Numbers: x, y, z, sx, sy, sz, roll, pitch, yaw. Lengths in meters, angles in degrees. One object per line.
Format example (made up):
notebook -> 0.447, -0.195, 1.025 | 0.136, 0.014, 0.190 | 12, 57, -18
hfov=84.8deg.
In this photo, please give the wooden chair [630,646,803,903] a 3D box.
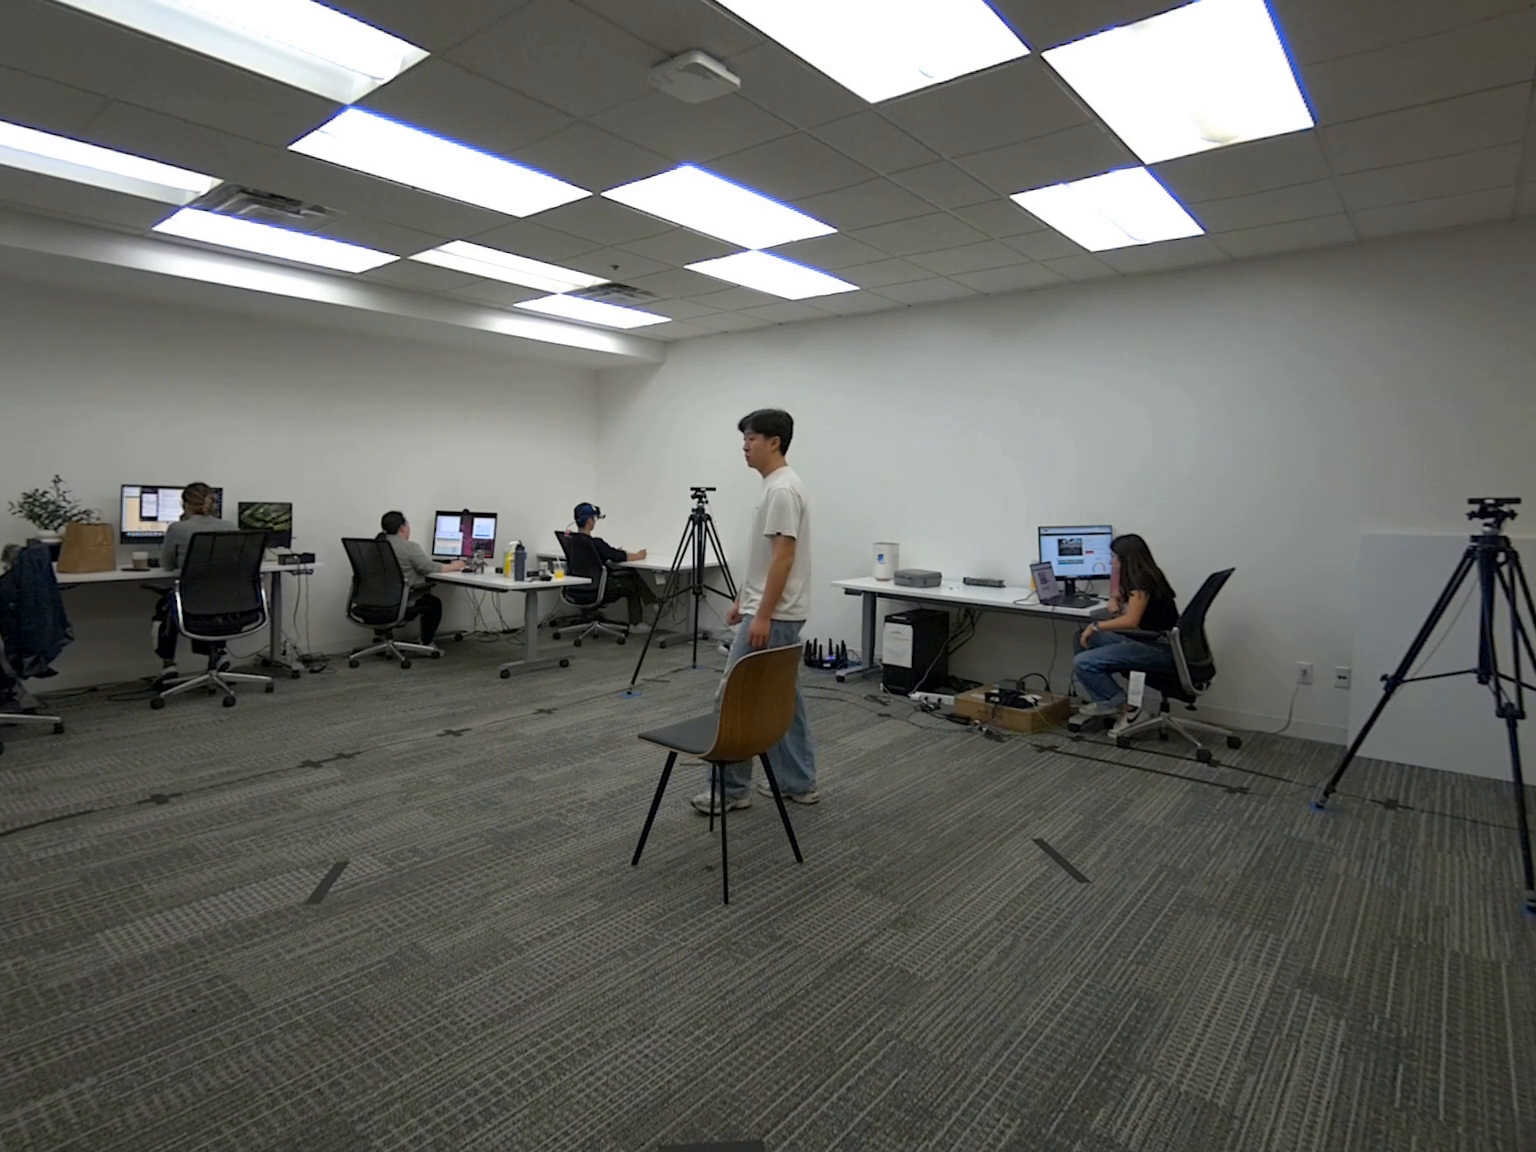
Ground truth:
wooden chair -> -0.195, 0.637, 3.129 | 0.542, 0.873, 0.464 | 9, 7, 38
